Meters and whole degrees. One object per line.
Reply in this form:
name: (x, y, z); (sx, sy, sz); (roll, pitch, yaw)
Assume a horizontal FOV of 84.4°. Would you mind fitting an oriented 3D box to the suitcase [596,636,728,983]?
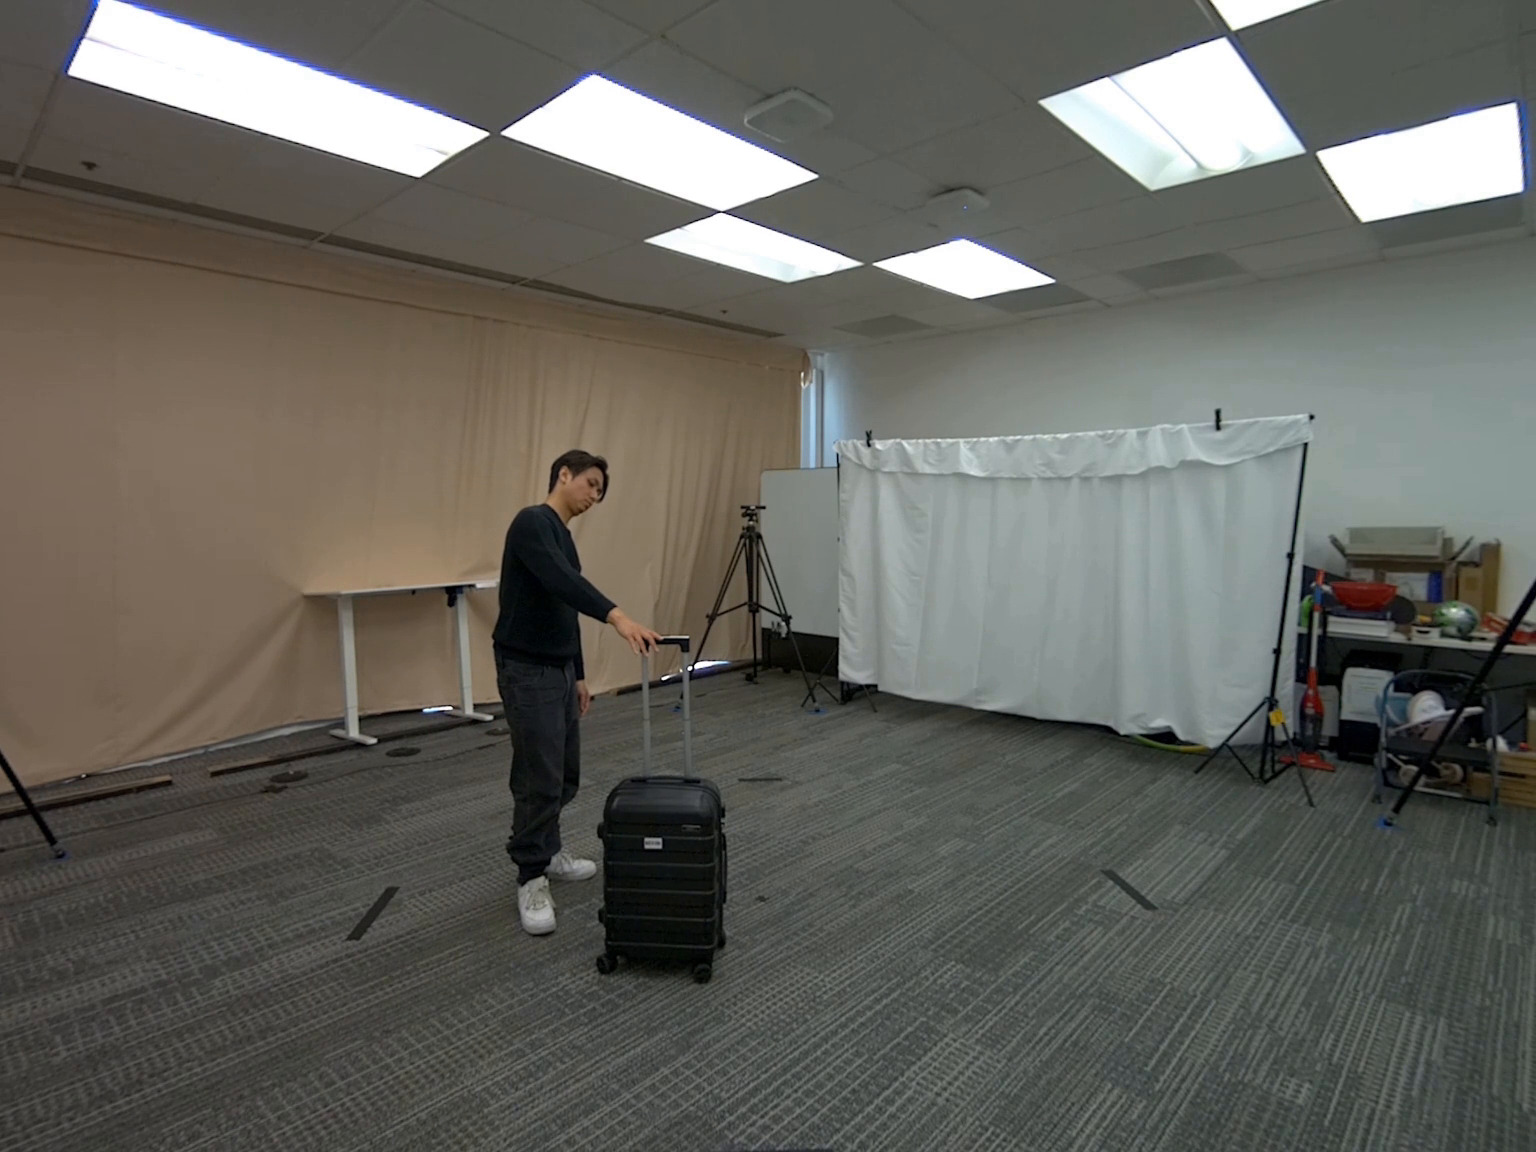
suitcase: (-0.318, 0.703, 2.567); (0.386, 0.976, 0.256); (0, 4, 4)
